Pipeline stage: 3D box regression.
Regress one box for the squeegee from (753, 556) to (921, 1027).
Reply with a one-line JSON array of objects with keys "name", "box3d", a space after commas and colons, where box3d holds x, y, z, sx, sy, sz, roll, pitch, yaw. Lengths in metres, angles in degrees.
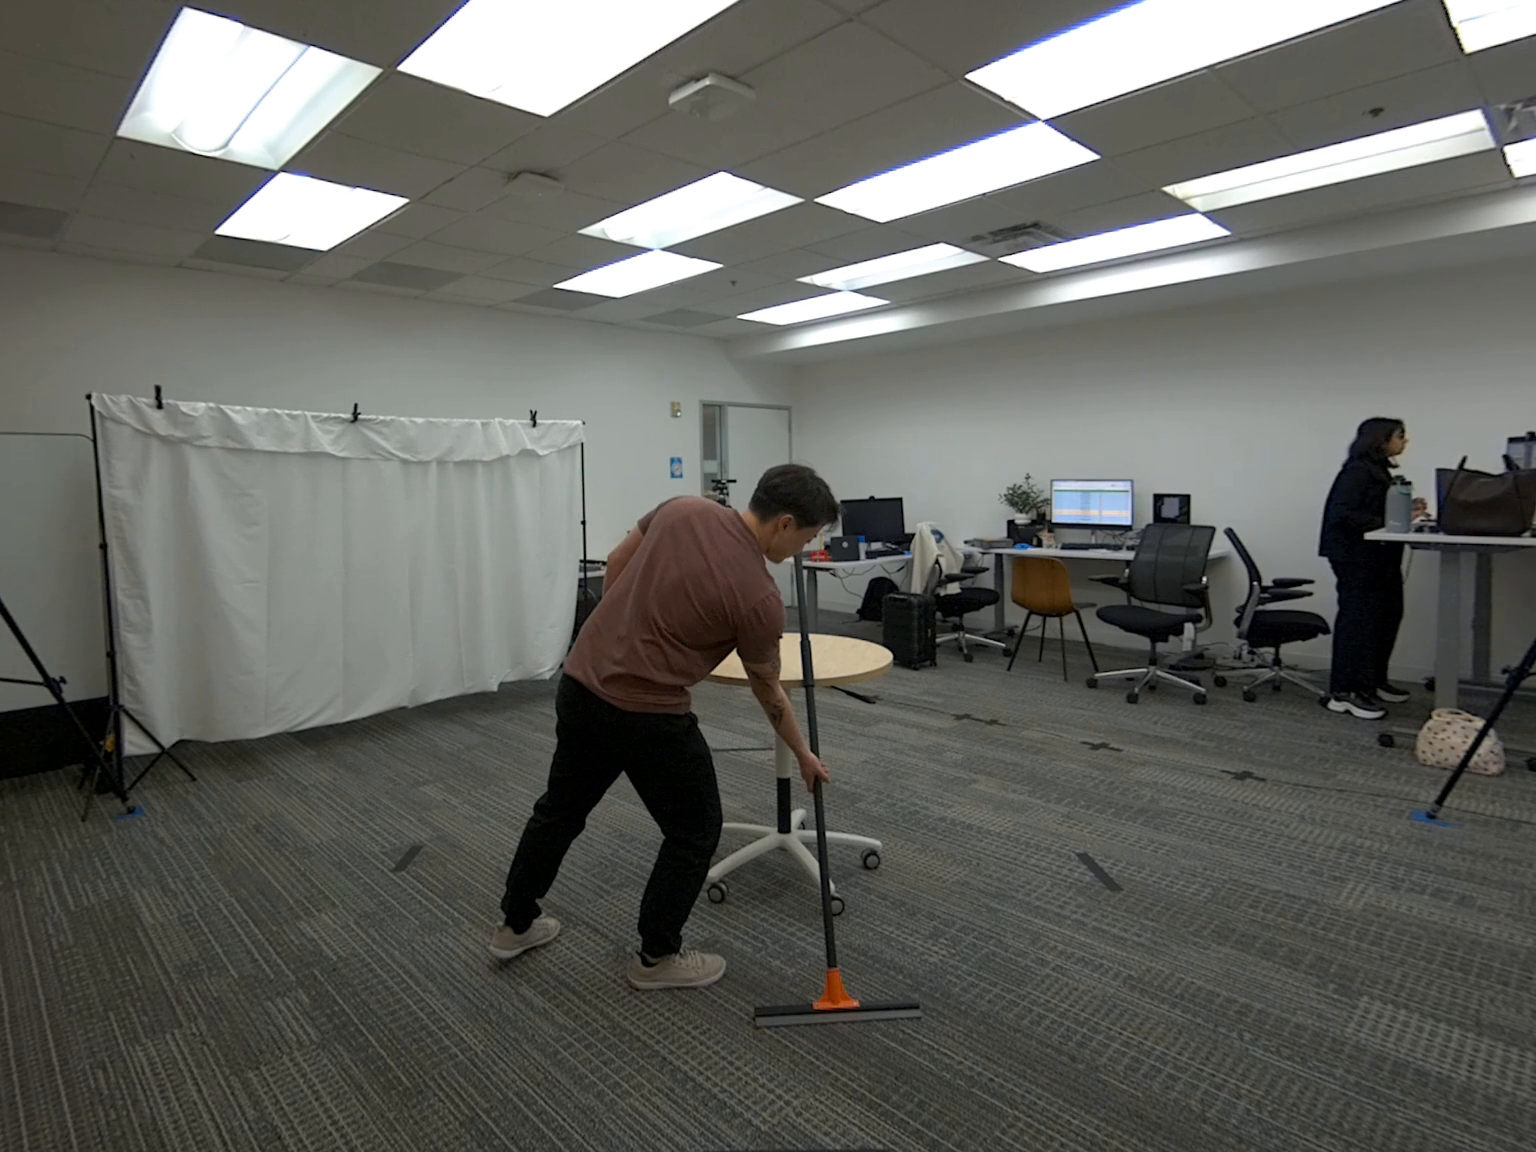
[{"name": "squeegee", "box3d": [0.144, 0.435, 2.569, 0.438, 1.573, 0.052, -3, -26, 0]}]
